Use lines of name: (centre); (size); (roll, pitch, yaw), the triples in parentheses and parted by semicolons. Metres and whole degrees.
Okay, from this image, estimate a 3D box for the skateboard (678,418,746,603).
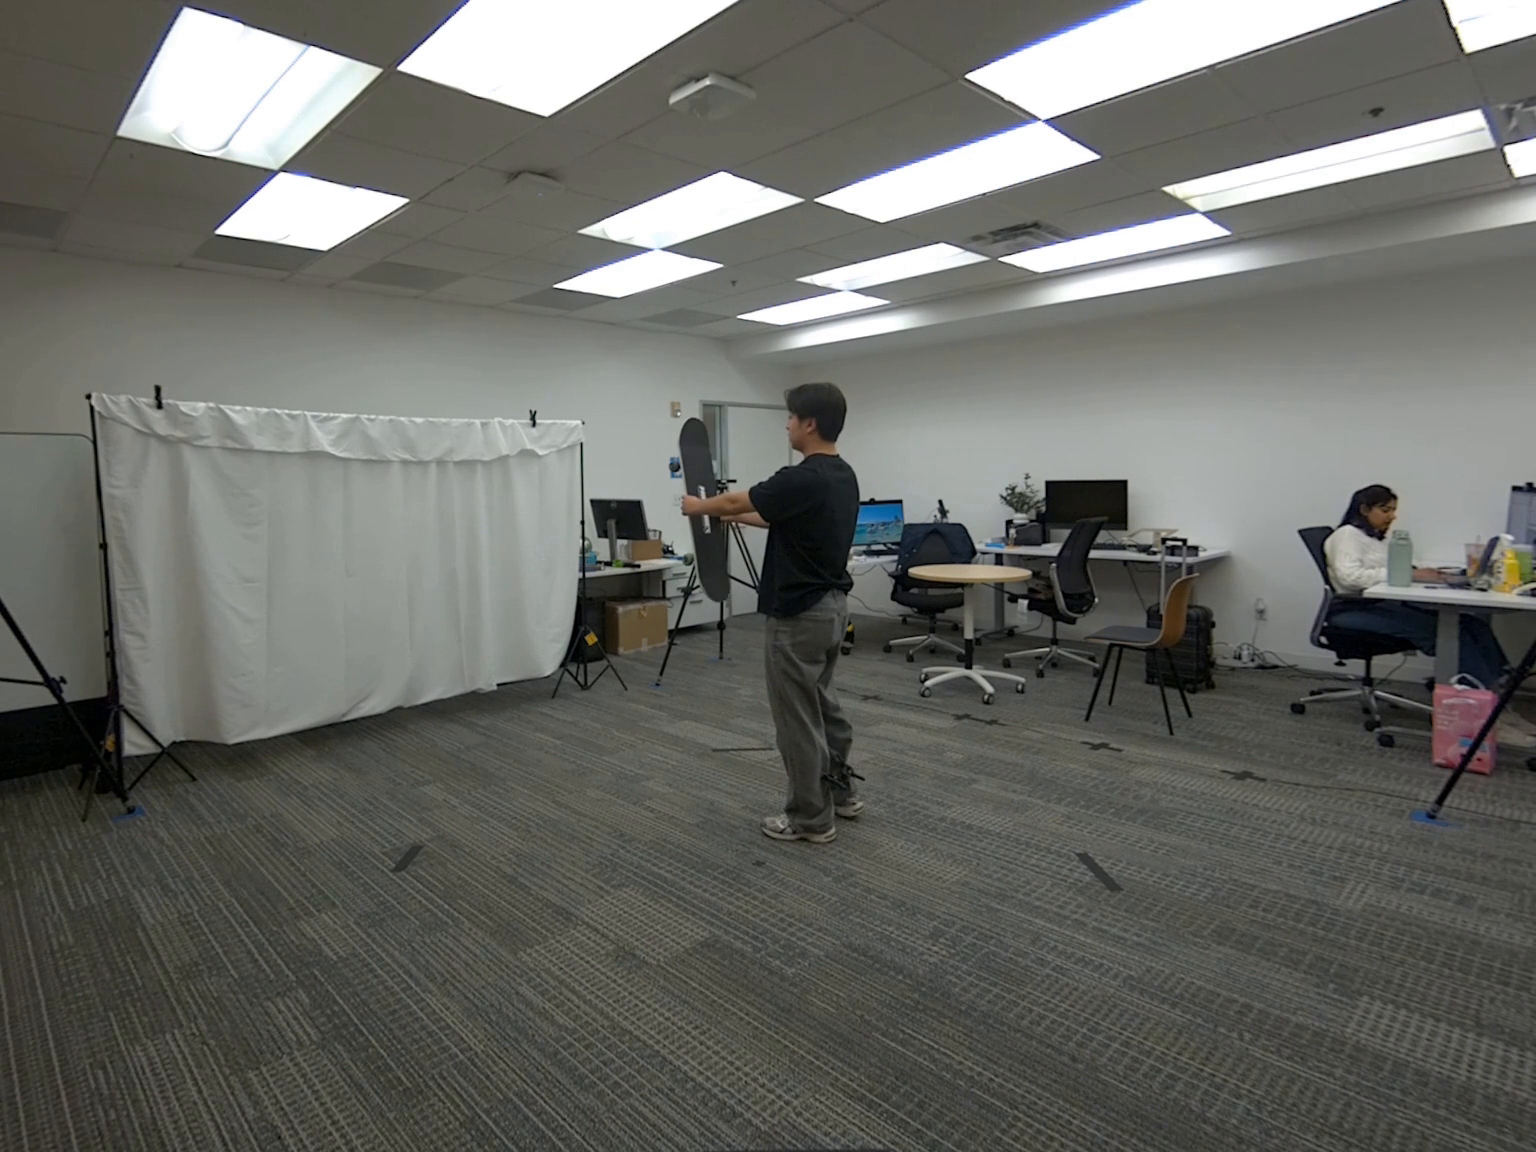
skateboard: (-0.294, -0.274, 3.630); (0.113, 0.788, 0.188); (-12, -5, 40)
